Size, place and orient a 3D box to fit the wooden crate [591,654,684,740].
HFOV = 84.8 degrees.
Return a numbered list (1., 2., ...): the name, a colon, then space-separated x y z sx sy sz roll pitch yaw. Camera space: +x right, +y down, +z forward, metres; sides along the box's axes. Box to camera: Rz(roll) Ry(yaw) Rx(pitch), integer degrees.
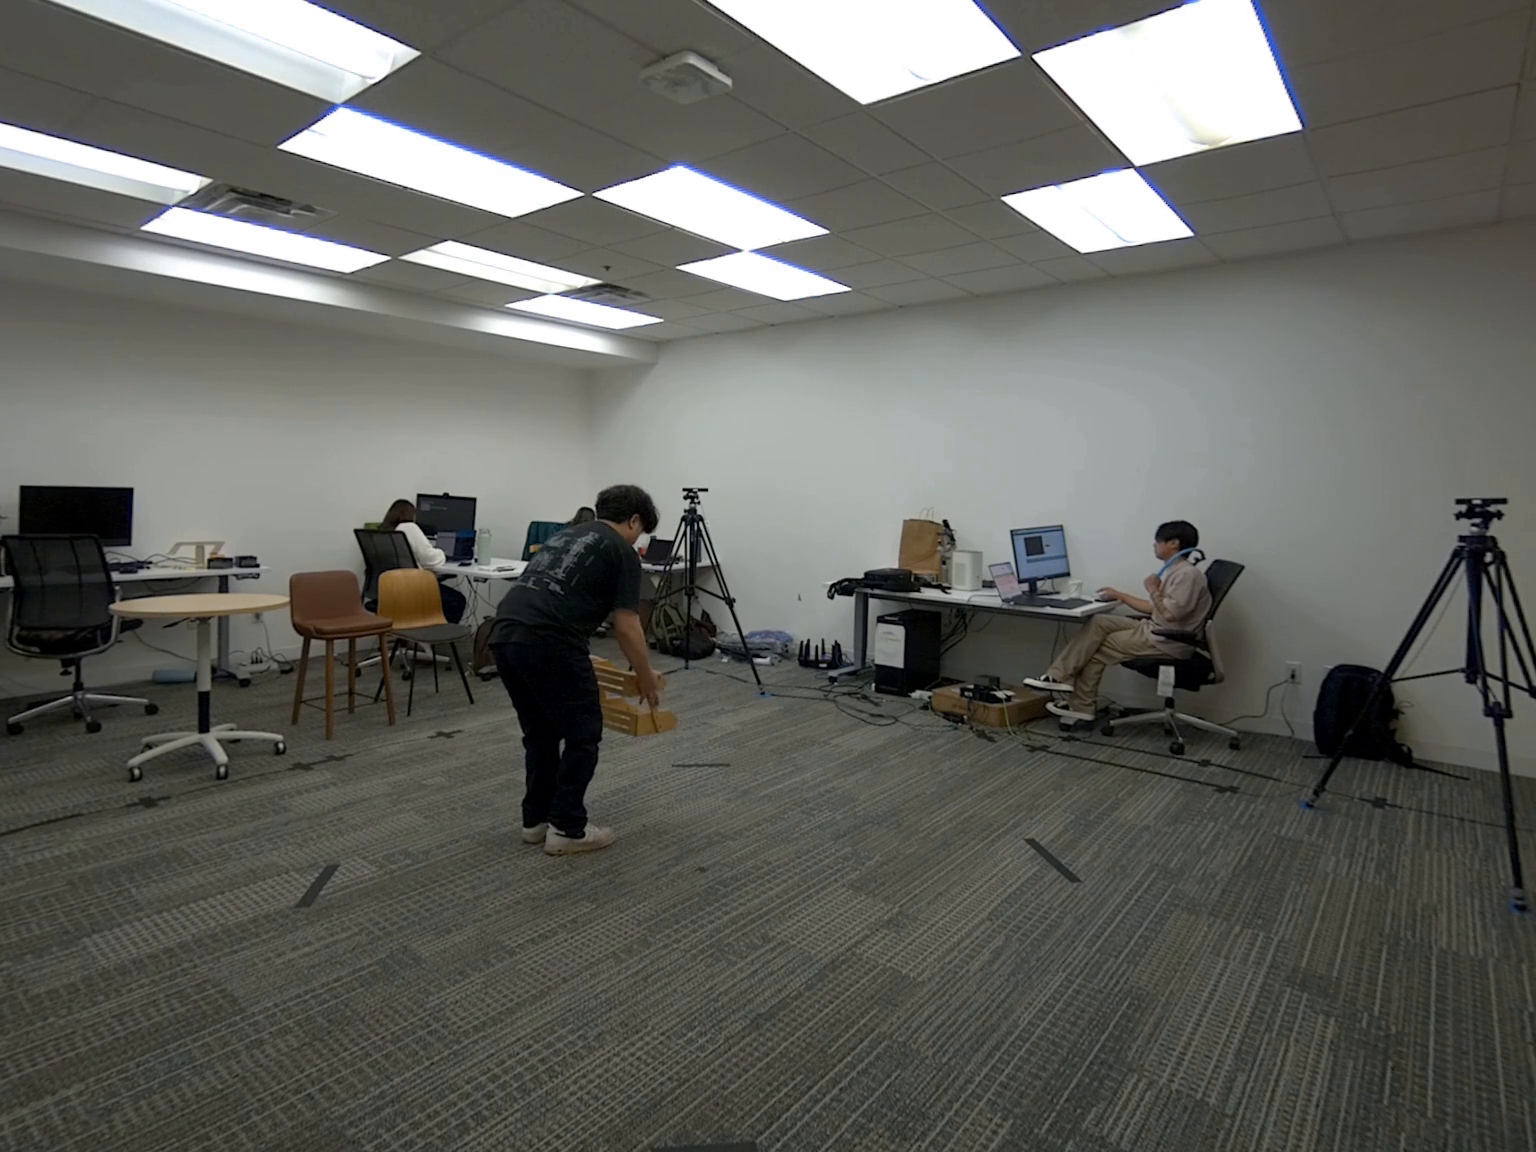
1. wooden crate: -0.596 0.501 3.594 0.335 0.273 0.292 6 3 37
